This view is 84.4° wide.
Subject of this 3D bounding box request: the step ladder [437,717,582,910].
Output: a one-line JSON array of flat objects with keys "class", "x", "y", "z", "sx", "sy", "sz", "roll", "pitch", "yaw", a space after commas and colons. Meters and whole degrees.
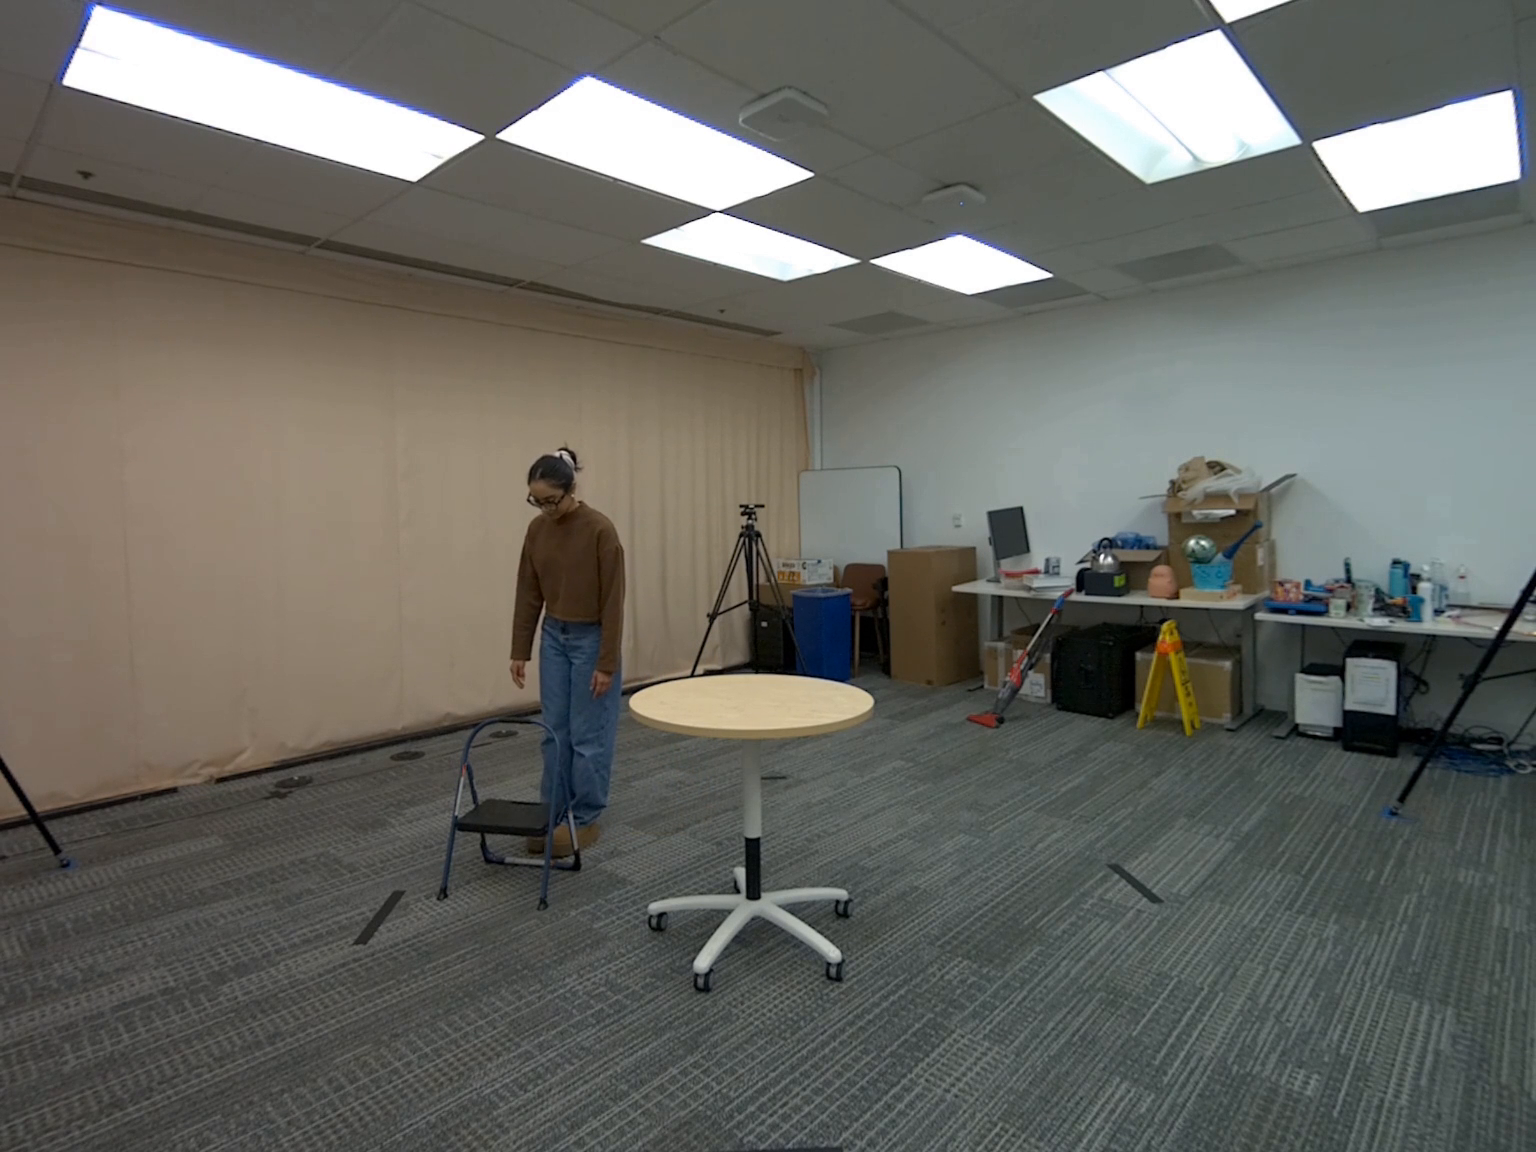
[{"class": "step ladder", "x": -0.955, "y": 0.843, "z": 3.135, "sx": 0.437, "sy": 0.605, "sz": 0.345, "roll": 0, "pitch": 3, "yaw": 13}]
